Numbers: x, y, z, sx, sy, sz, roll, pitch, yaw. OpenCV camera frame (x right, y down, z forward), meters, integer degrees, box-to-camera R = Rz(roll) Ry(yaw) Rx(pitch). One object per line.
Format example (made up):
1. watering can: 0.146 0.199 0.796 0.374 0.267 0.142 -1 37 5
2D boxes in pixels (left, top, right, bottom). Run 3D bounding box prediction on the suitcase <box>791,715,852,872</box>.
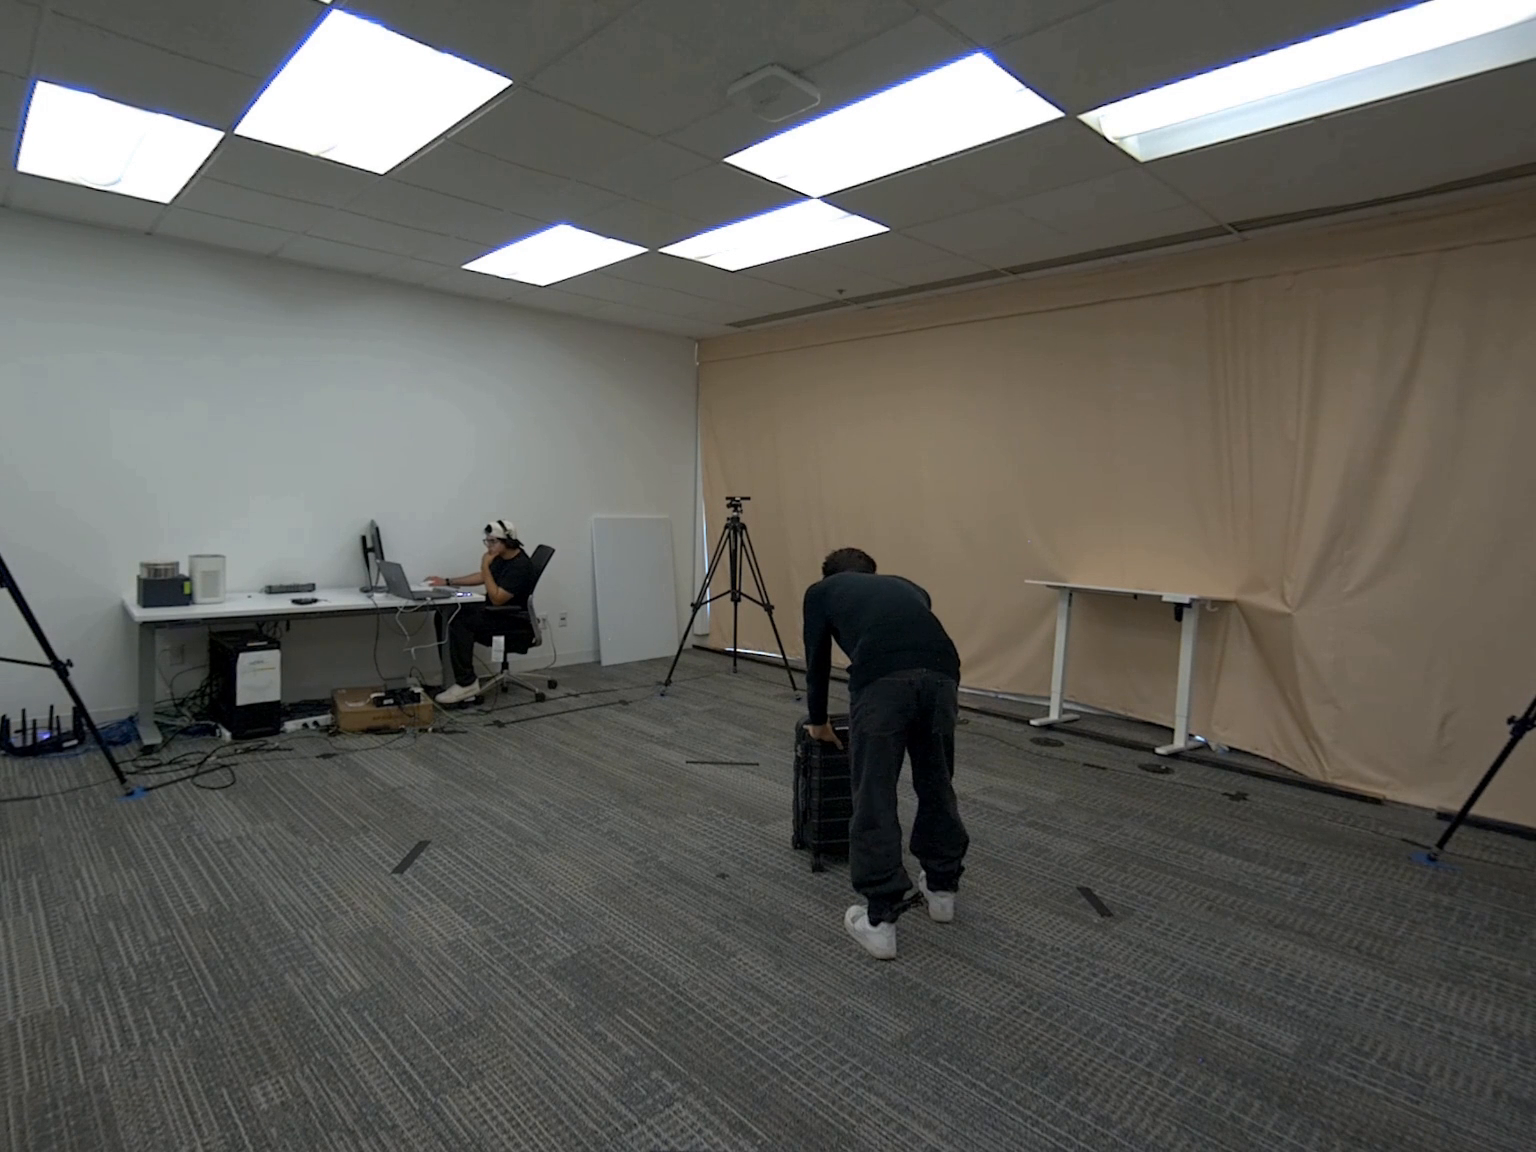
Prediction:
1. suitcase: 0.282 0.827 3.318 0.370 0.549 0.252 0 1 -17
